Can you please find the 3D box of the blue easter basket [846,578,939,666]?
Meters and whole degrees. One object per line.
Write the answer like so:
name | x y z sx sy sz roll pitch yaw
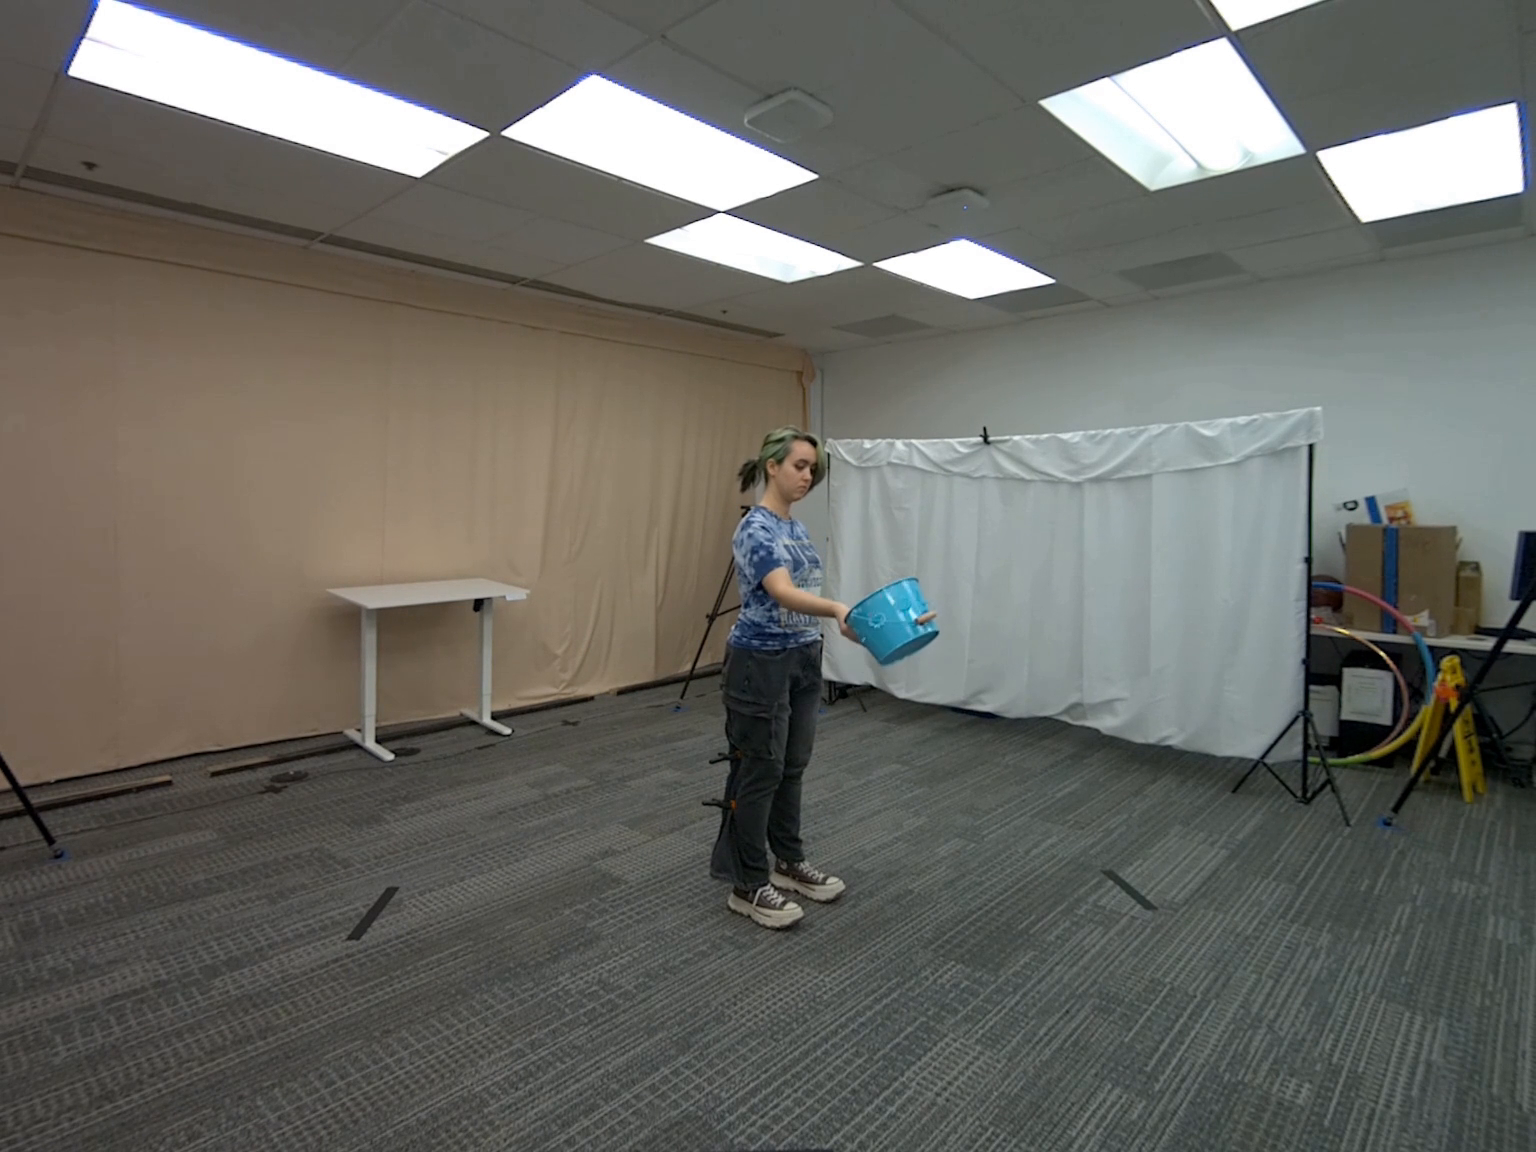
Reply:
blue easter basket | 0.341 0.132 2.264 0.241 0.159 0.240 -24 -22 -13
